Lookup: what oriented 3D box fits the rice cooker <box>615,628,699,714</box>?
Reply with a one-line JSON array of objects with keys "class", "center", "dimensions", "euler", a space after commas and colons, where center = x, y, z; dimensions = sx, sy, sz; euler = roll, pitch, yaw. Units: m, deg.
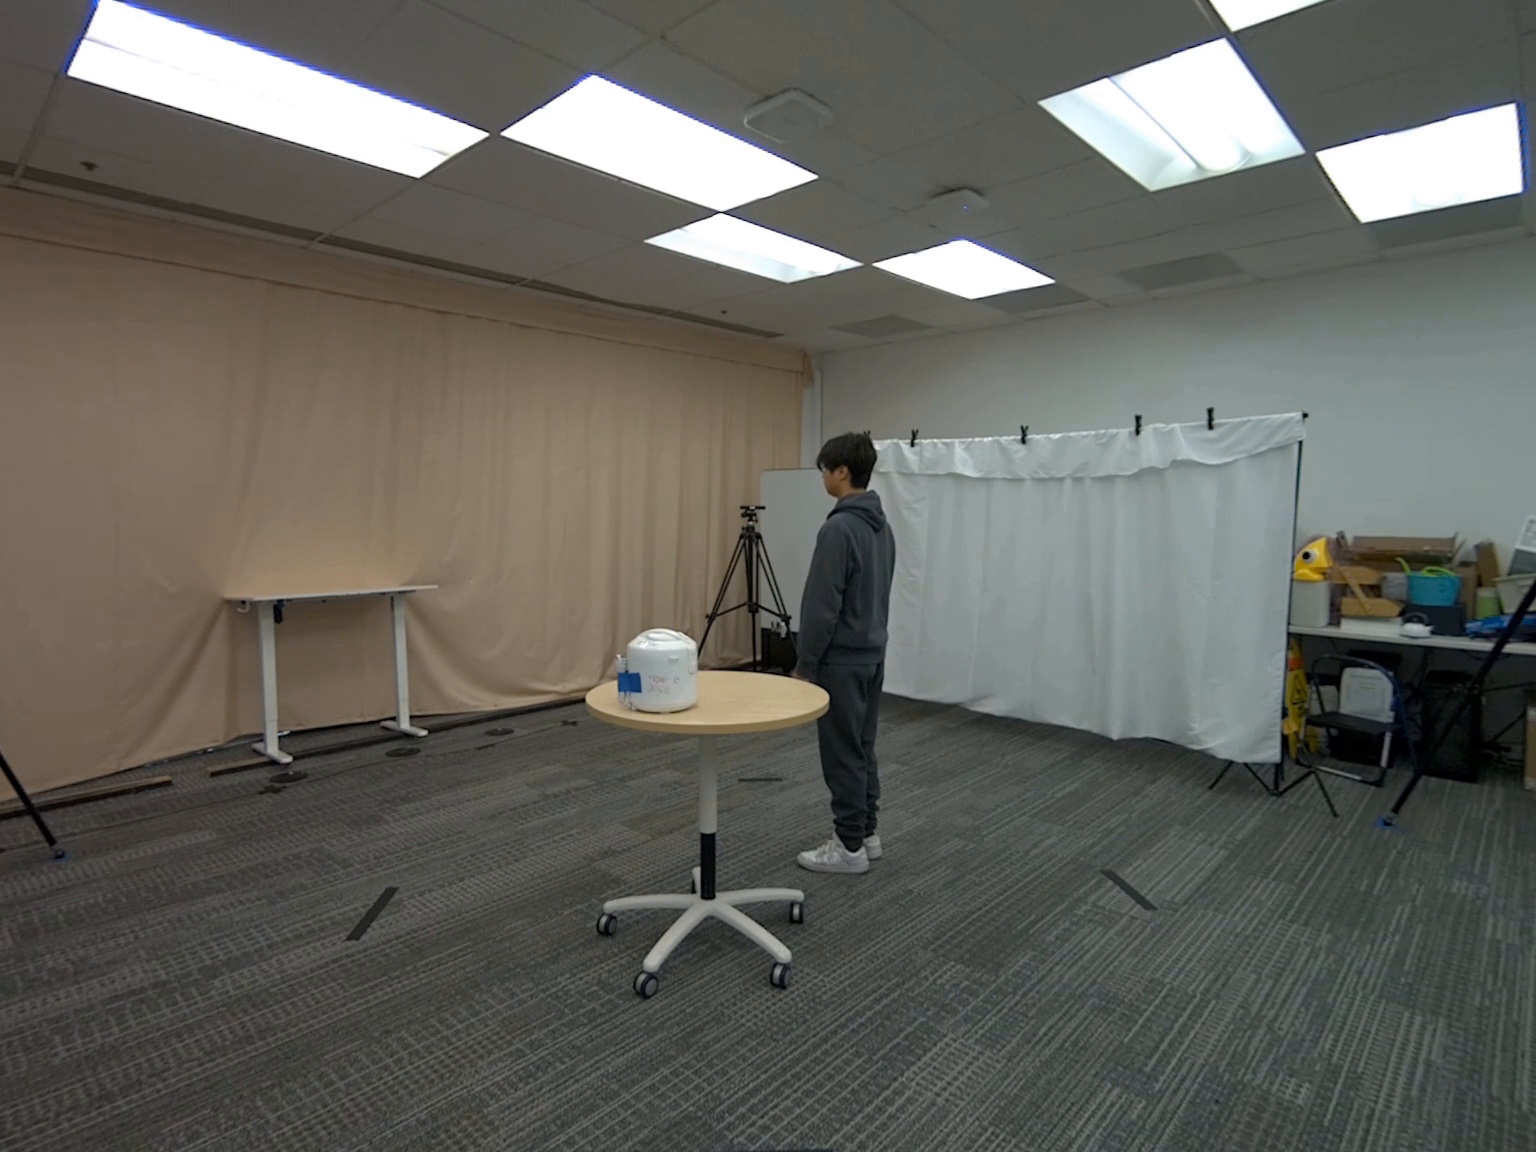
[{"class": "rice cooker", "center": [-0.311, 0.272, 2.486], "dimensions": [0.227, 0.232, 0.212], "euler": [2, 4, 28]}]
